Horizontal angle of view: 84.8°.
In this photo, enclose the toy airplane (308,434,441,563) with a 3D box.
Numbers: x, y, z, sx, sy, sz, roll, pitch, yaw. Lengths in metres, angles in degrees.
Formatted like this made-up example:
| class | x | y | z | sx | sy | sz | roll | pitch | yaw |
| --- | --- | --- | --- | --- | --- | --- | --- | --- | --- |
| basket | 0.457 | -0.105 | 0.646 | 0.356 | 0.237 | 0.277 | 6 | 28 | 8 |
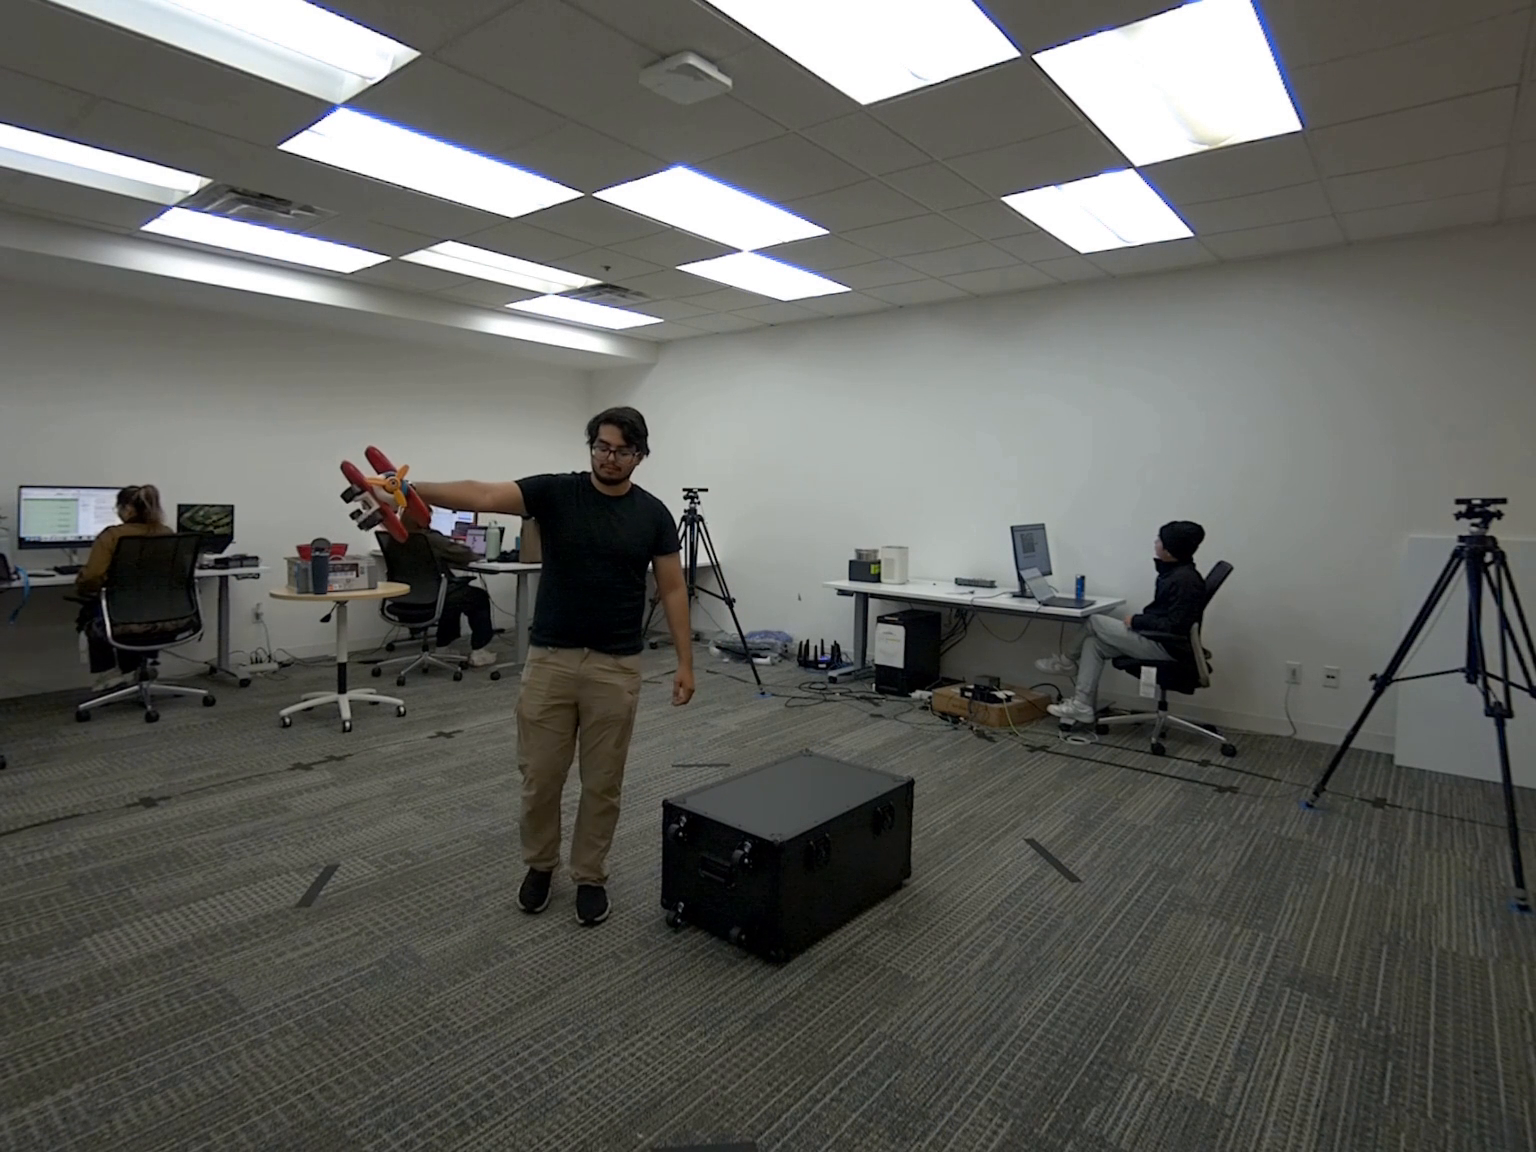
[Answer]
| class | x | y | z | sx | sy | sz | roll | pitch | yaw |
| --- | --- | --- | --- | --- | --- | --- | --- | --- | --- |
| toy airplane | -1.059 | -0.214 | 2.259 | 0.156 | 0.242 | 0.270 | -40 | 38 | -22 |
